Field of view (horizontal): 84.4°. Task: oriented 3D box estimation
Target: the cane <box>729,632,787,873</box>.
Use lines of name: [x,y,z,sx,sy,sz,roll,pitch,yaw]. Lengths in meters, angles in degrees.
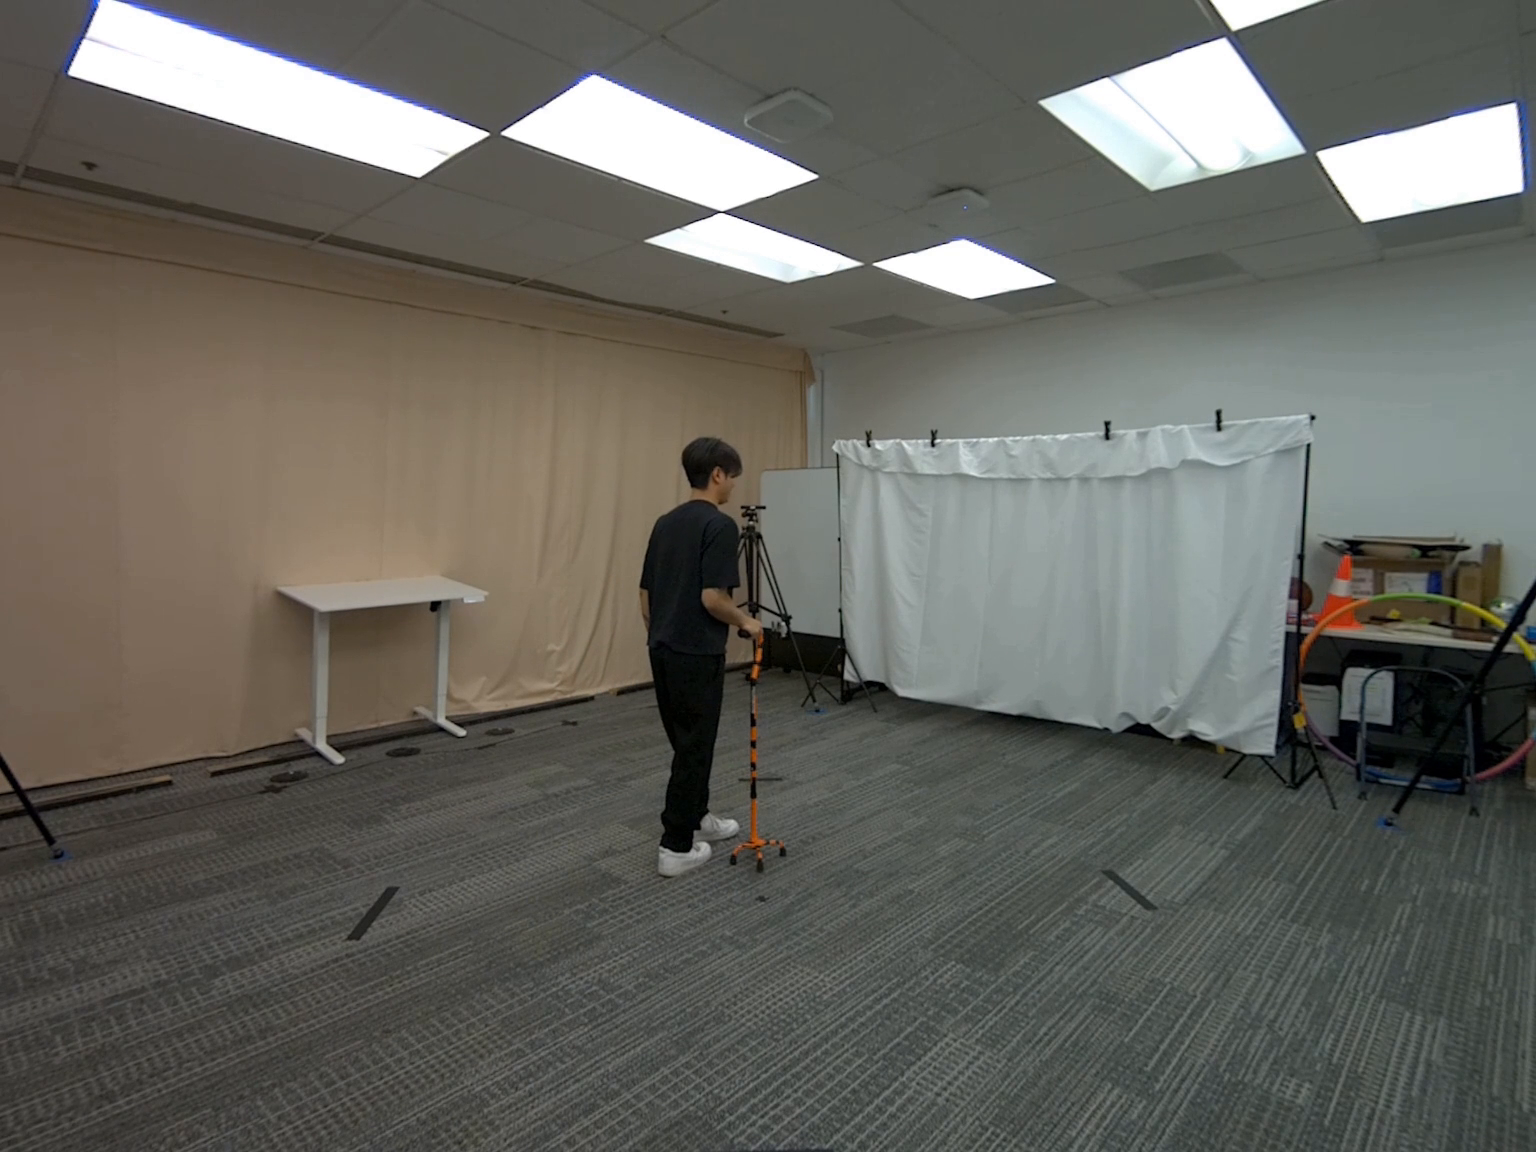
cane: [-0.030,0.665,3.306,0.156,0.908,0.200,1,0,30]
